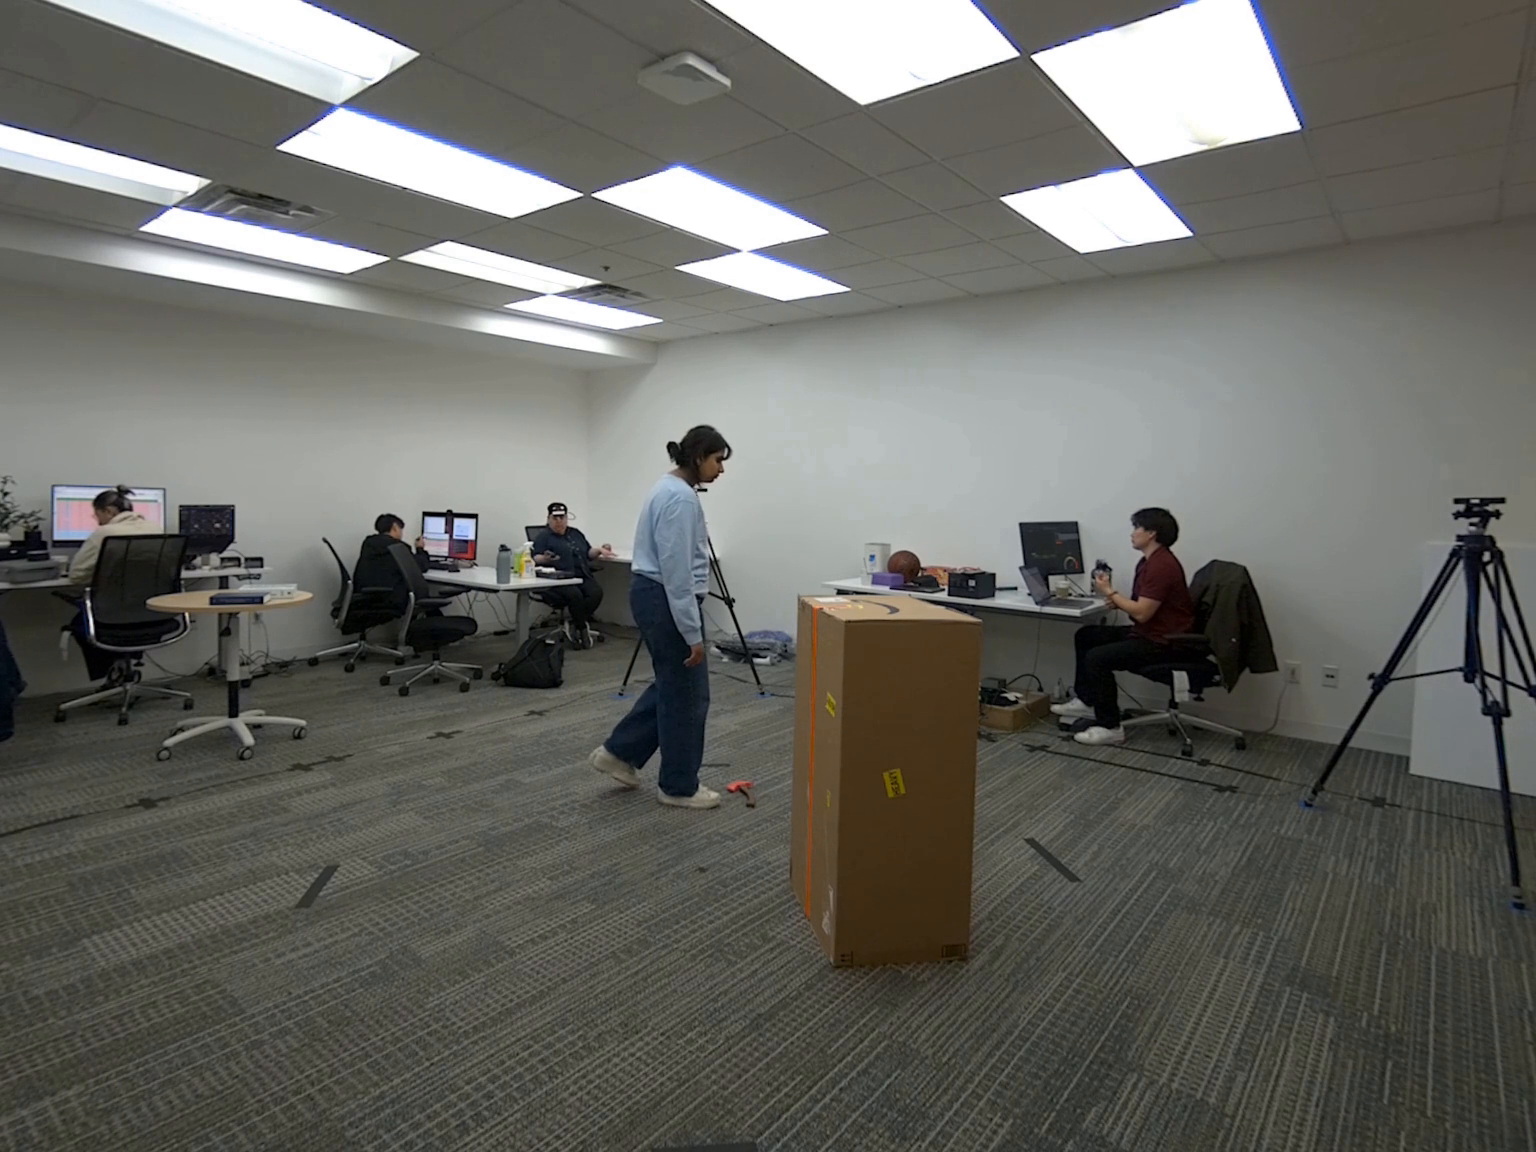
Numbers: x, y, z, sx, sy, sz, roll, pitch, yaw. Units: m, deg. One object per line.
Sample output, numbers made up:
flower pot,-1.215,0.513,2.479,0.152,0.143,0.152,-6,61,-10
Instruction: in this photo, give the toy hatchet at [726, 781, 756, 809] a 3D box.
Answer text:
toy hatchet,-0.133,0.986,3.859,0.131,0.029,0.271,2,6,-2
